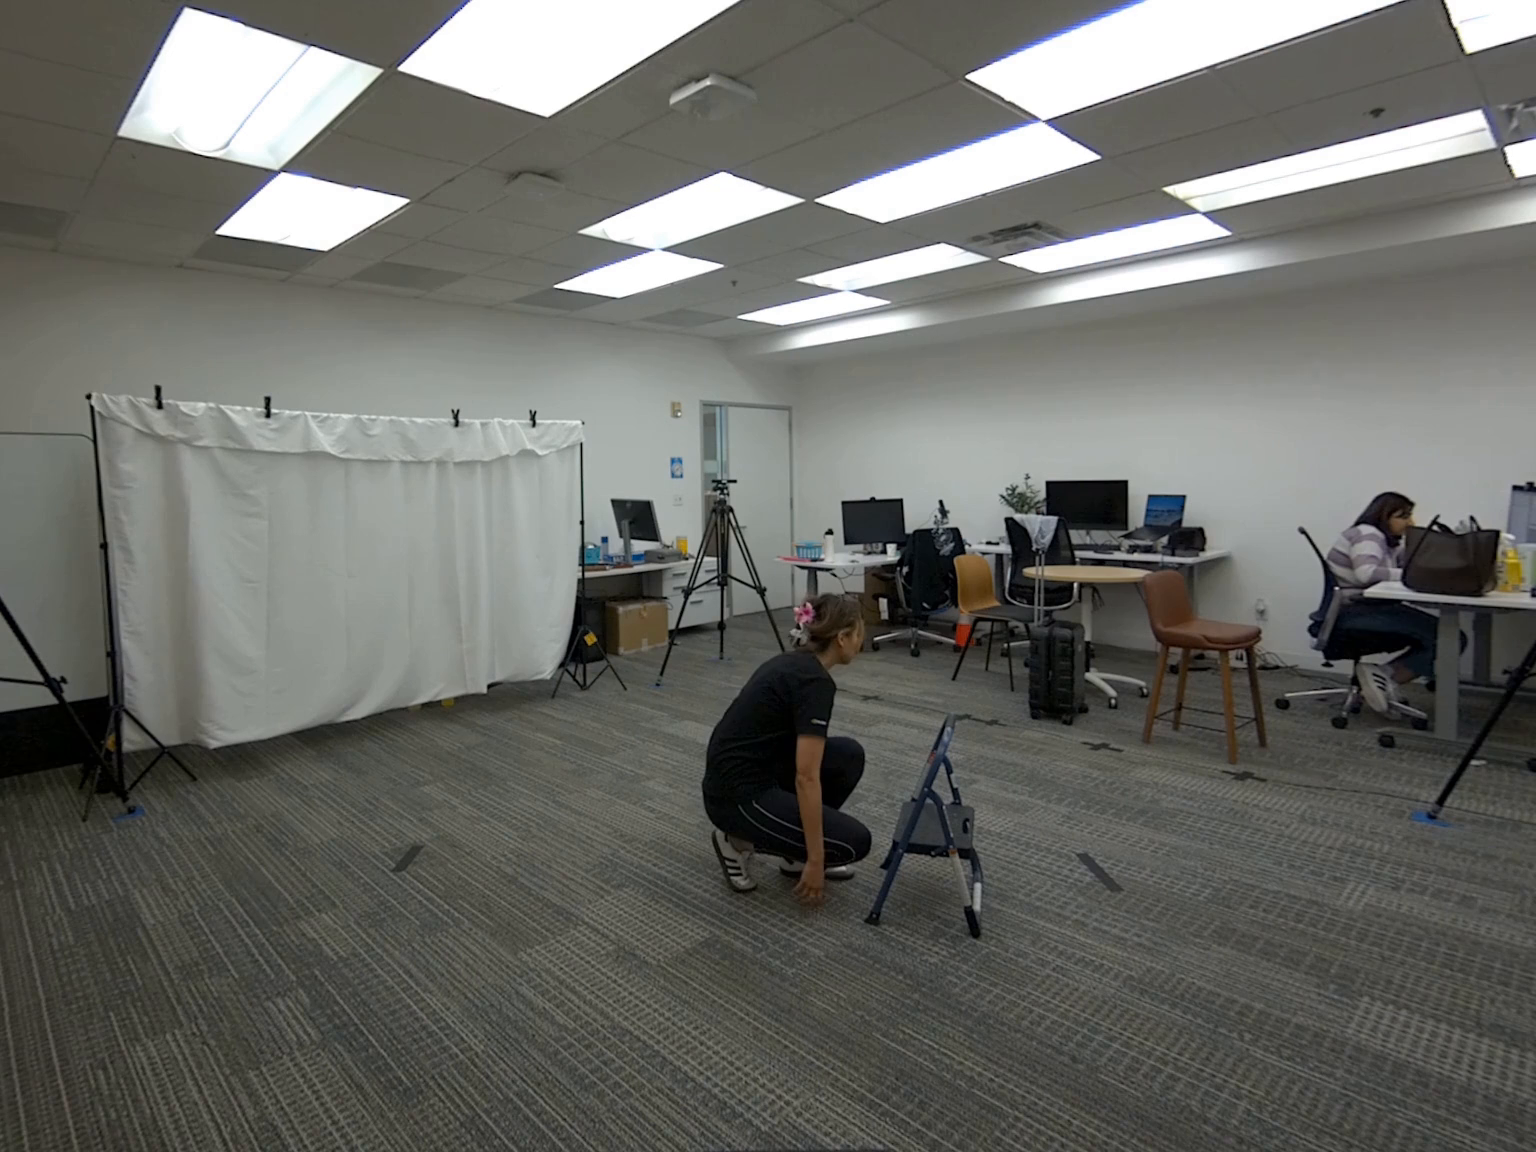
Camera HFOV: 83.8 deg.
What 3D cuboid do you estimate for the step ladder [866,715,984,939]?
[{"bbox_3d":[0.522,0.762,2.803,0.355,0.604,0.425,0,4,16],"label":"step ladder"}]
